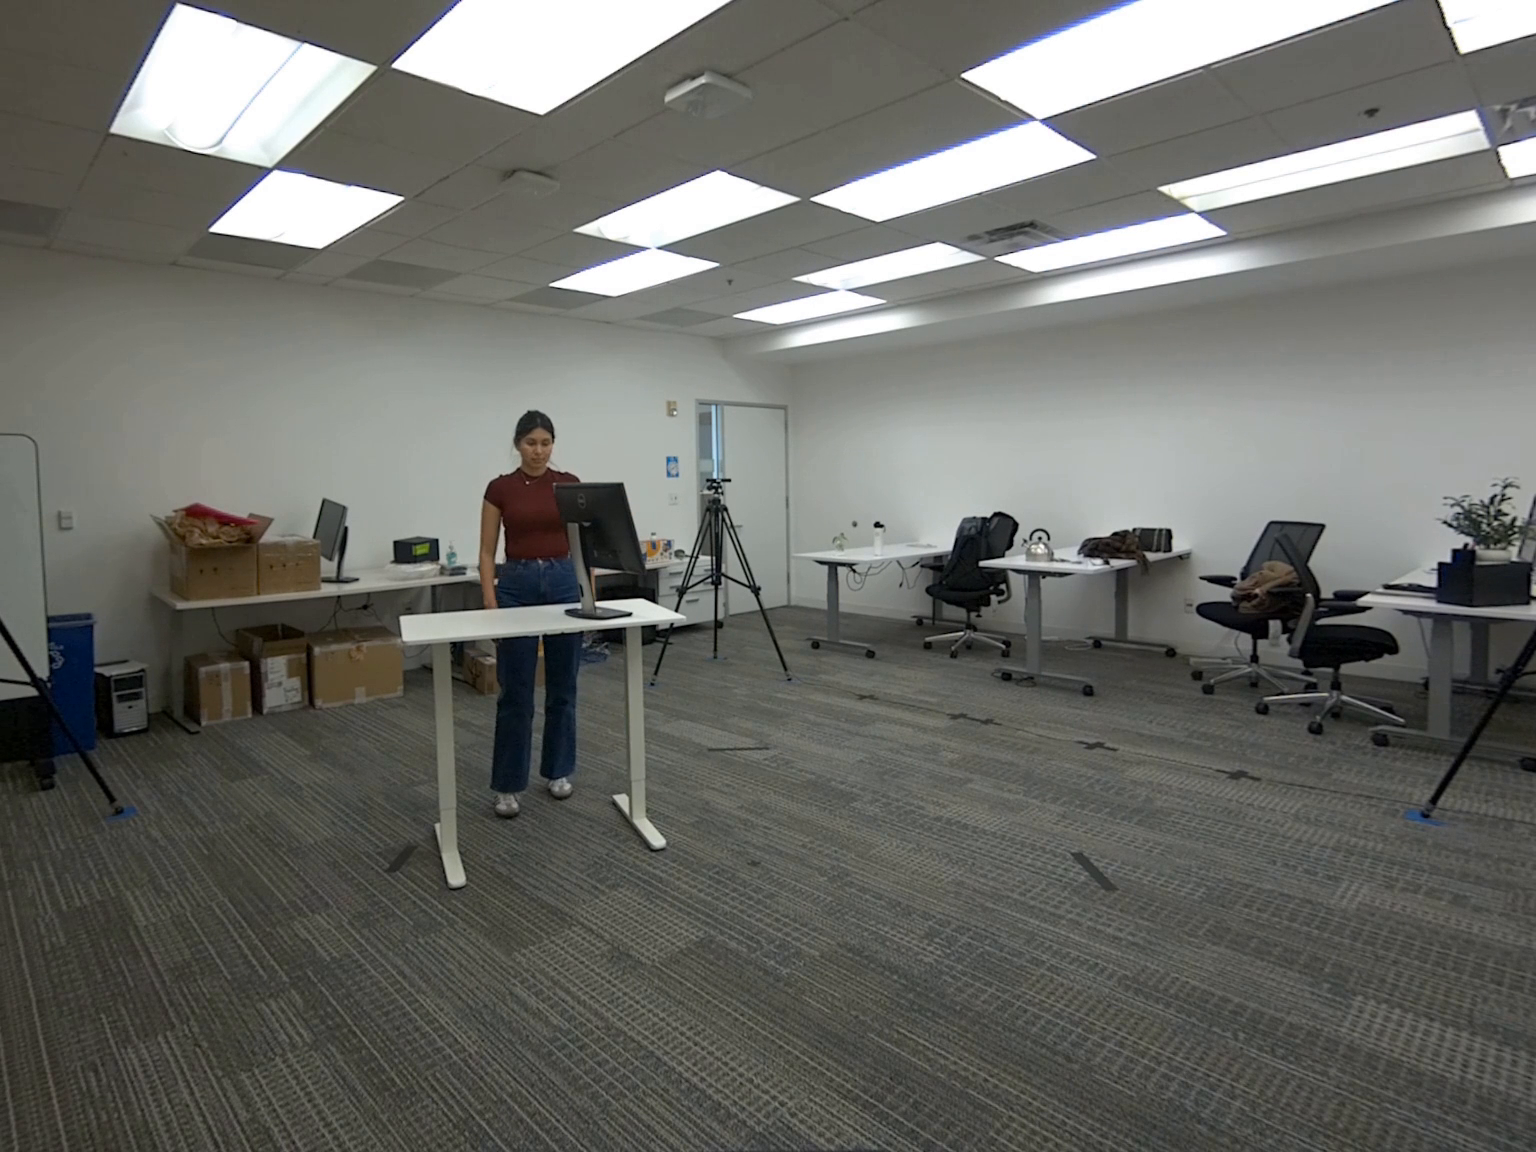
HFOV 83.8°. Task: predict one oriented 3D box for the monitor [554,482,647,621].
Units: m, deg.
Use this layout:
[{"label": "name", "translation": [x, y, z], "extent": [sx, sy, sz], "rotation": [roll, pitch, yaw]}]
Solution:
[{"label": "monitor", "translation": [-0.684, -0.099, 3.307], "extent": [0.182, 0.520, 0.556], "rotation": [-7, 8, -41]}]
